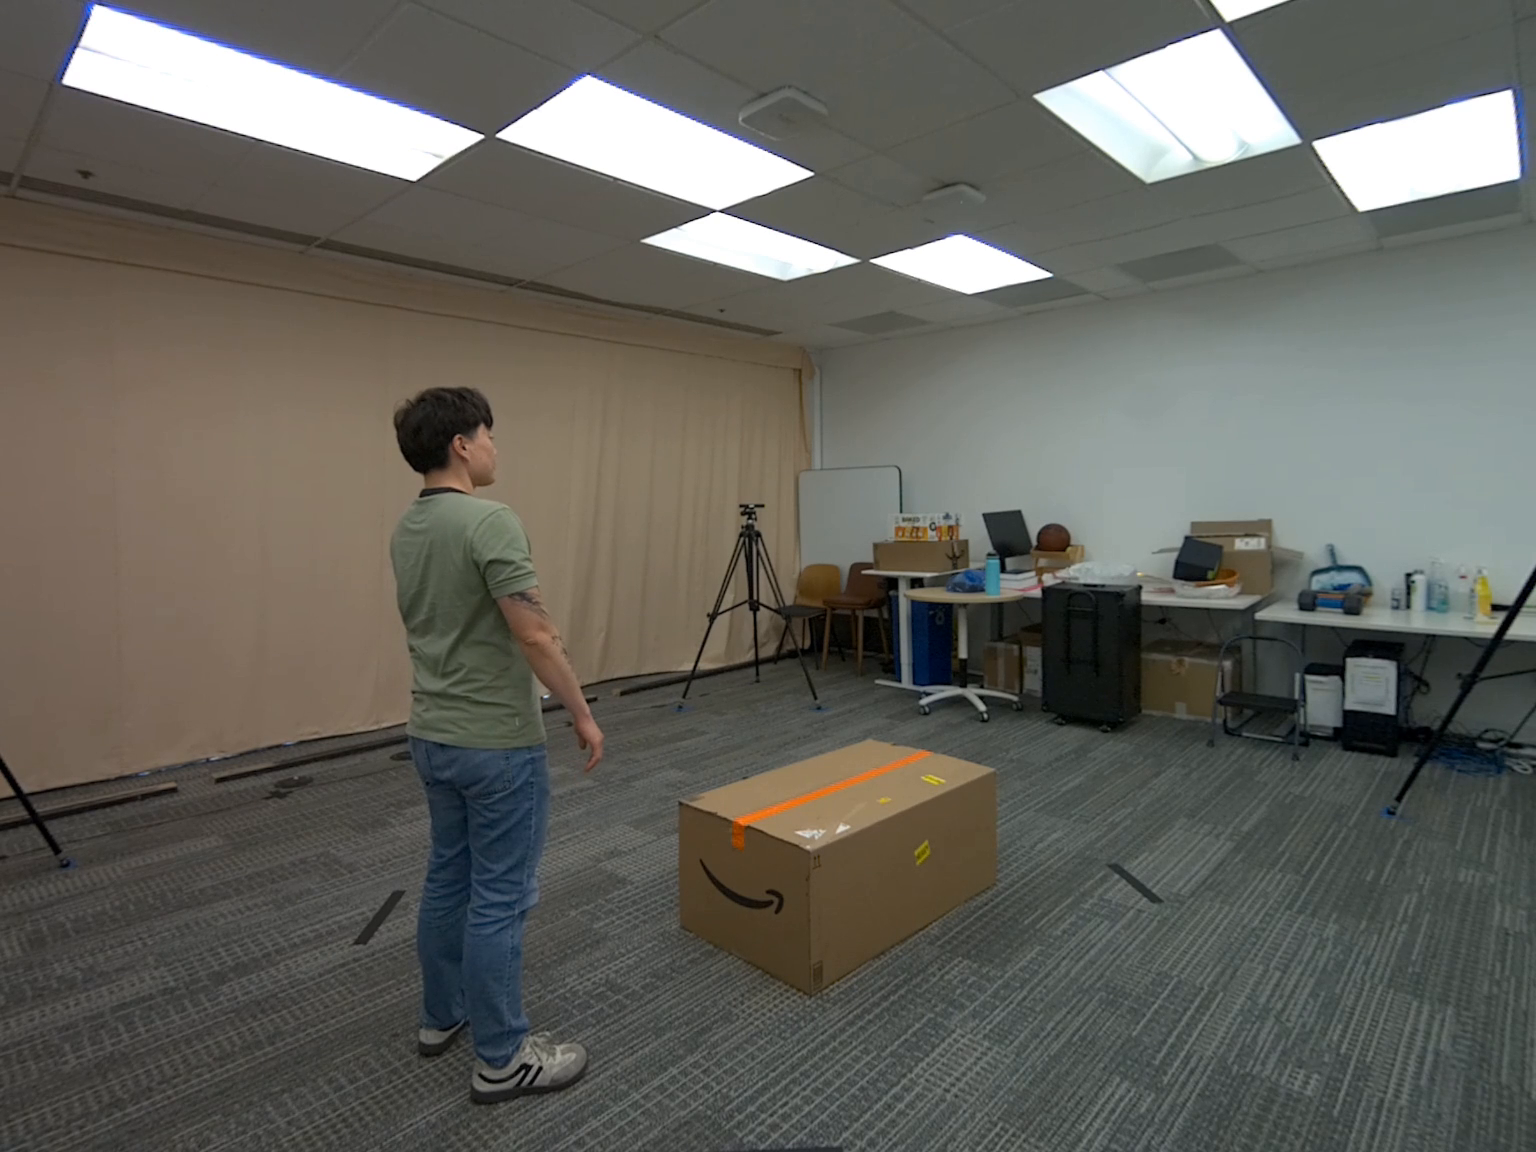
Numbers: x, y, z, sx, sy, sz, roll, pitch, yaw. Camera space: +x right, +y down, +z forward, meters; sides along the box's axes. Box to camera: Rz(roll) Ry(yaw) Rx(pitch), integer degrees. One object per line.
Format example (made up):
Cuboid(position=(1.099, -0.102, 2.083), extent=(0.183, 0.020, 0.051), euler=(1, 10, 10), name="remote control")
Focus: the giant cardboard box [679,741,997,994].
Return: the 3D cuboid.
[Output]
Cuboid(position=(0.269, 0.928, 2.912), extent=(0.995, 0.425, 0.597), euler=(-5, 6, -44), name="giant cardboard box")
